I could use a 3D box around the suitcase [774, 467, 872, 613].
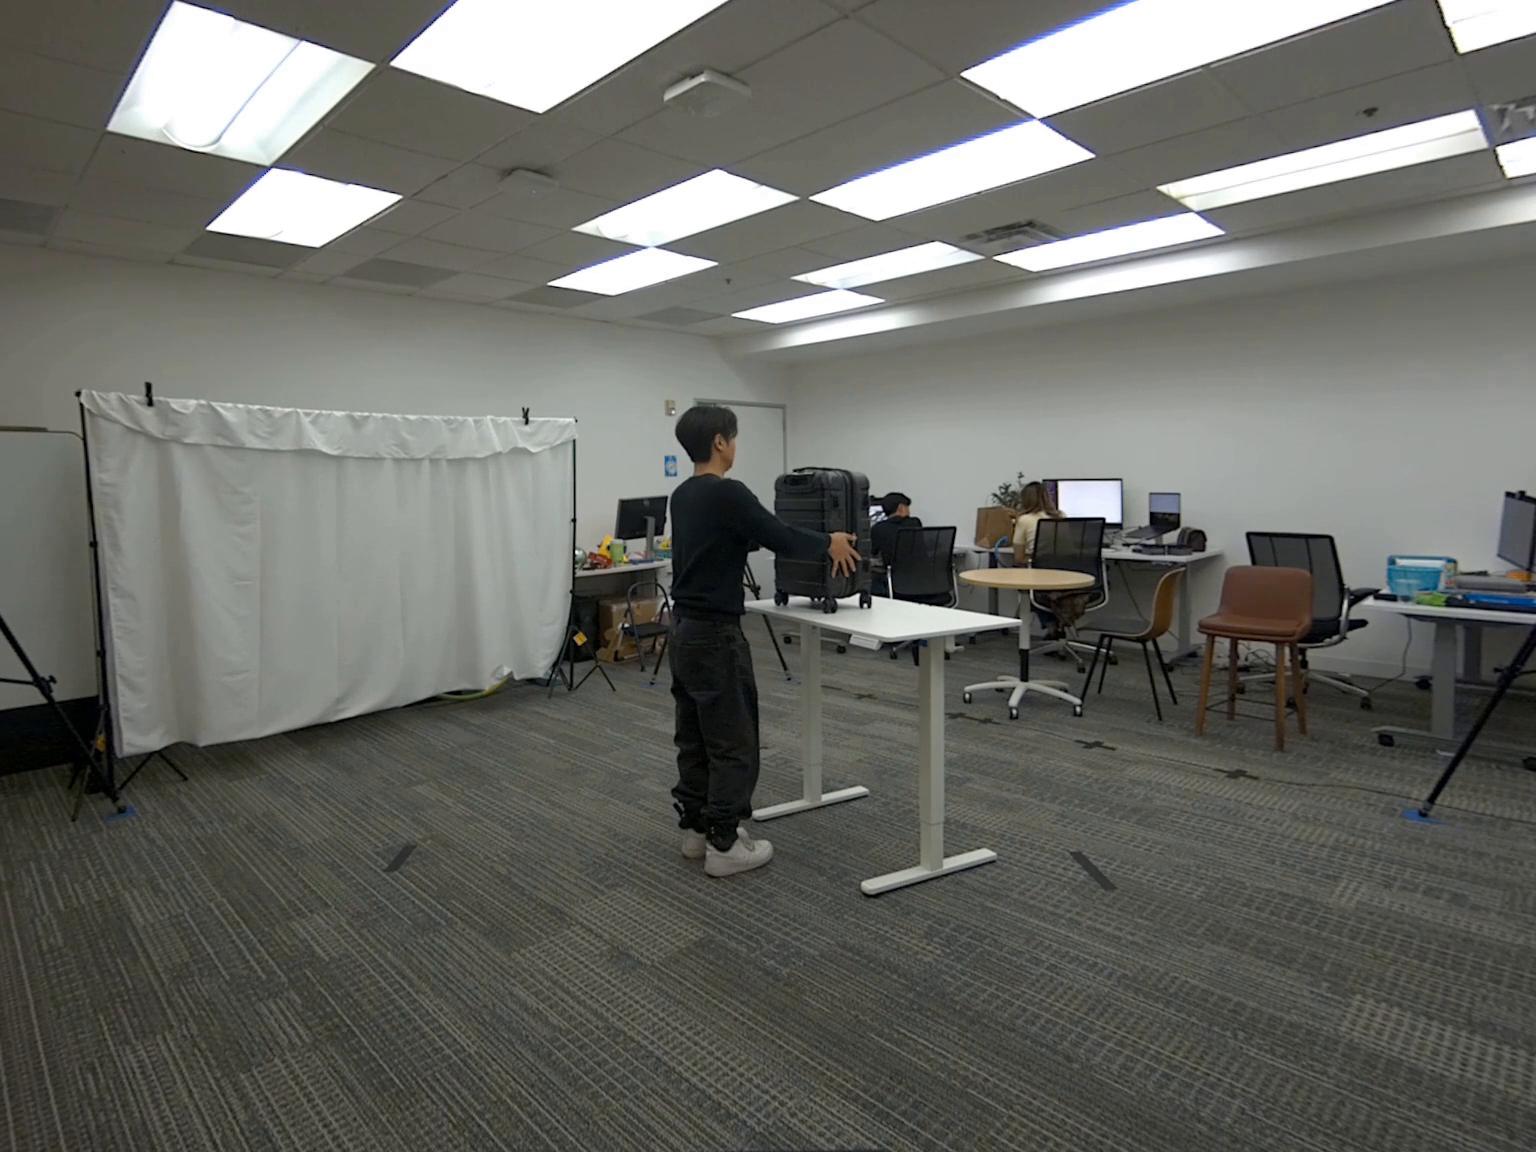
[{"bbox_3d":[0.210,-0.156,3.402,0.242,0.549,0.386,-2,2,-36],"label":"suitcase"}]
